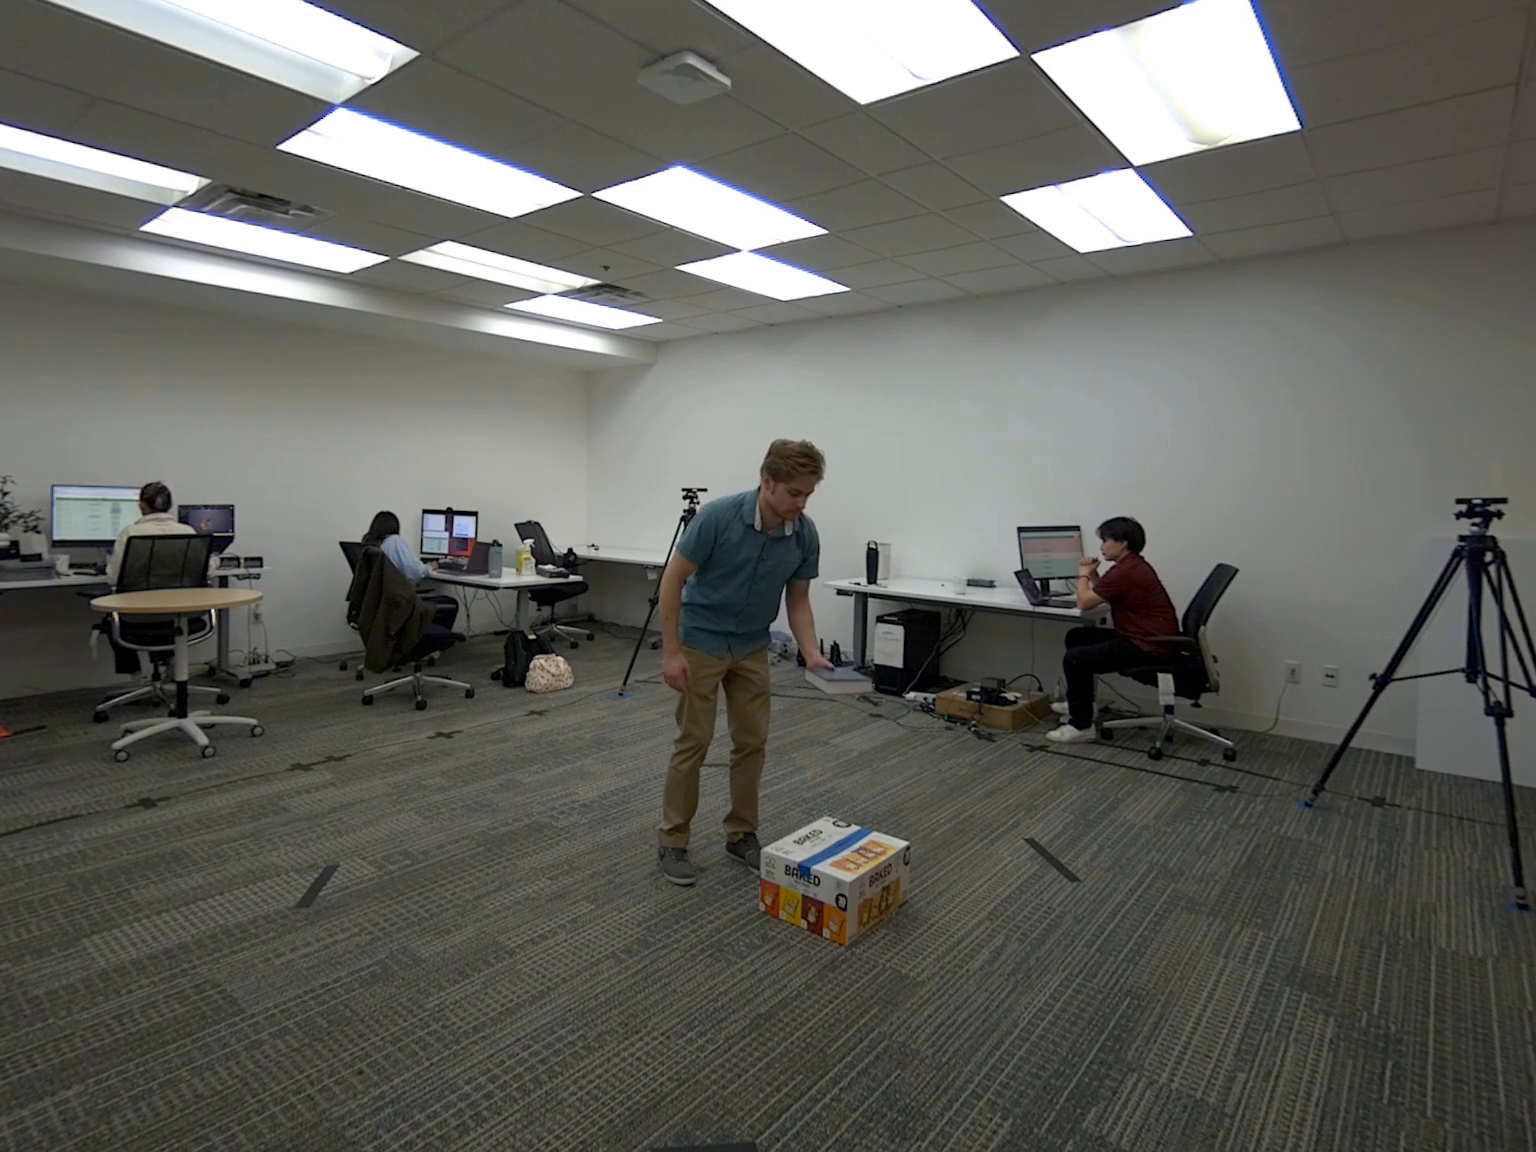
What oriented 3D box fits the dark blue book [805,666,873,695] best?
[{"bbox_3d":[0.220,0.347,2.873,0.161,0.045,0.249,1,4,-16],"label":"dark blue book"}]
